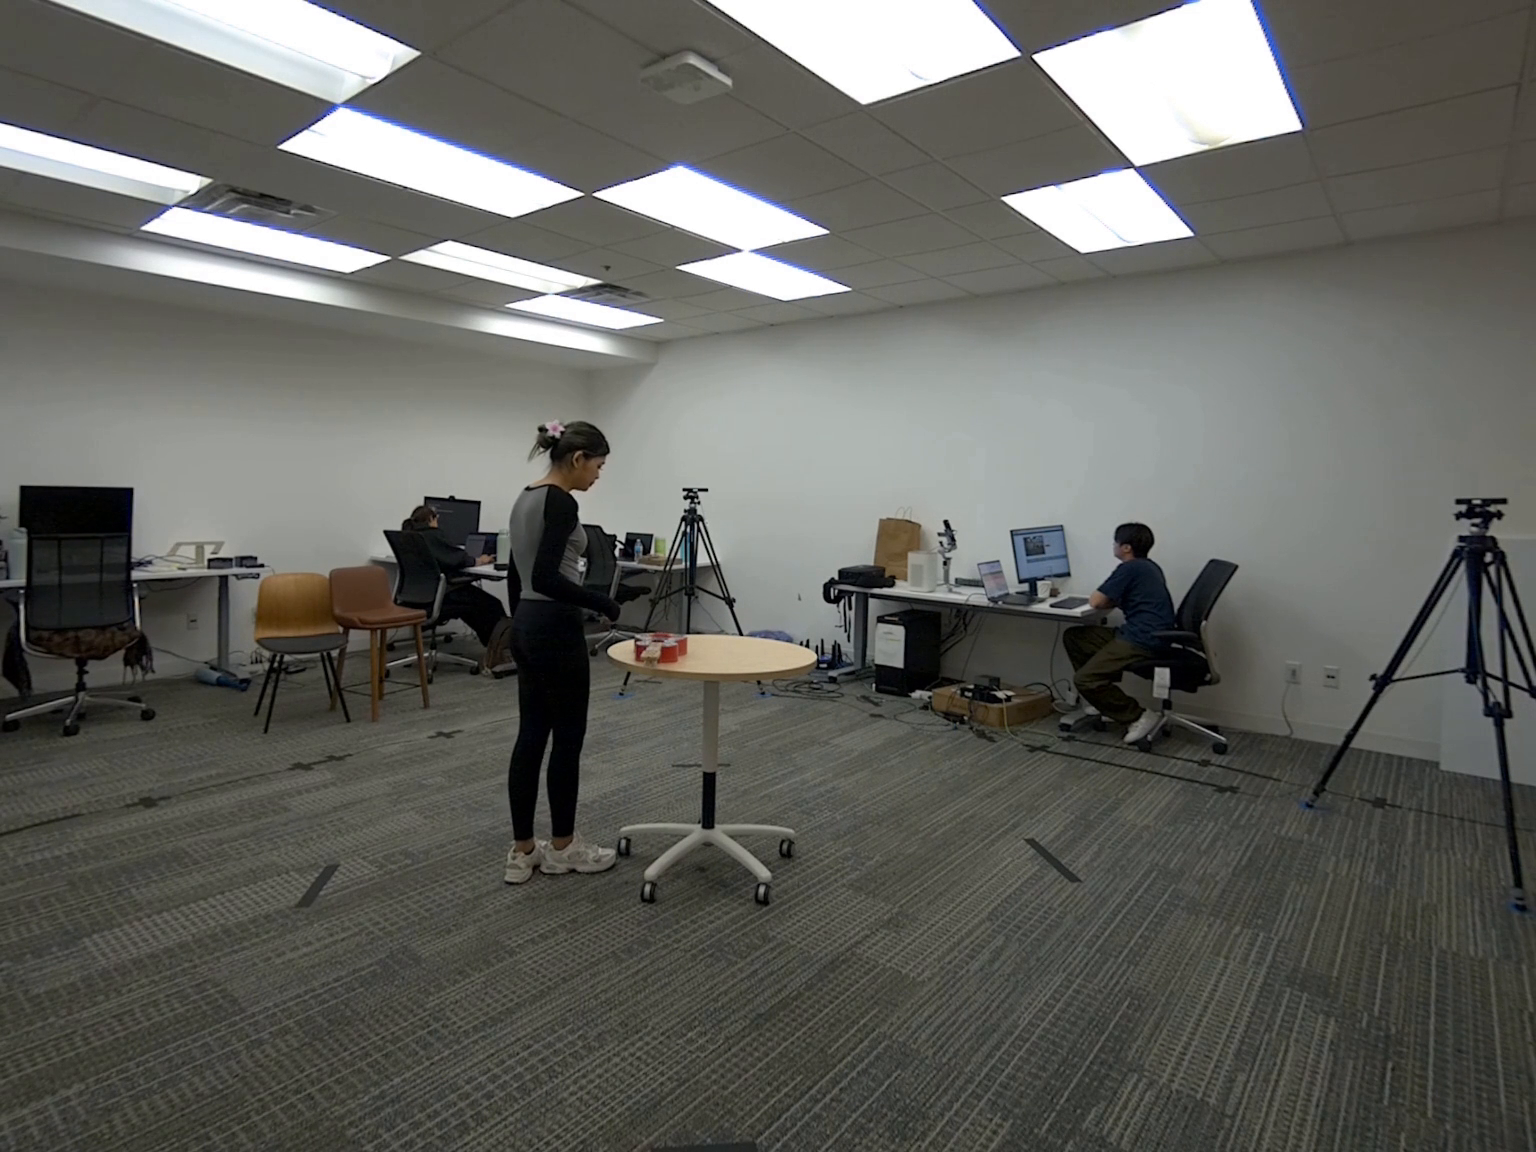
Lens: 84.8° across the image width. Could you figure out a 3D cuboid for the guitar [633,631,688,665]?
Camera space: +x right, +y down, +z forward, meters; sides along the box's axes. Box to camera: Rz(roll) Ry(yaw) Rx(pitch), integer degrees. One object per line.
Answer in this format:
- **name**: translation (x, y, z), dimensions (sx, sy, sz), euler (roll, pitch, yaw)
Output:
- **guitar**: translation (-0.415, 0.260, 2.894), dimensions (0.194, 0.070, 0.495), euler (2, 4, 5)
